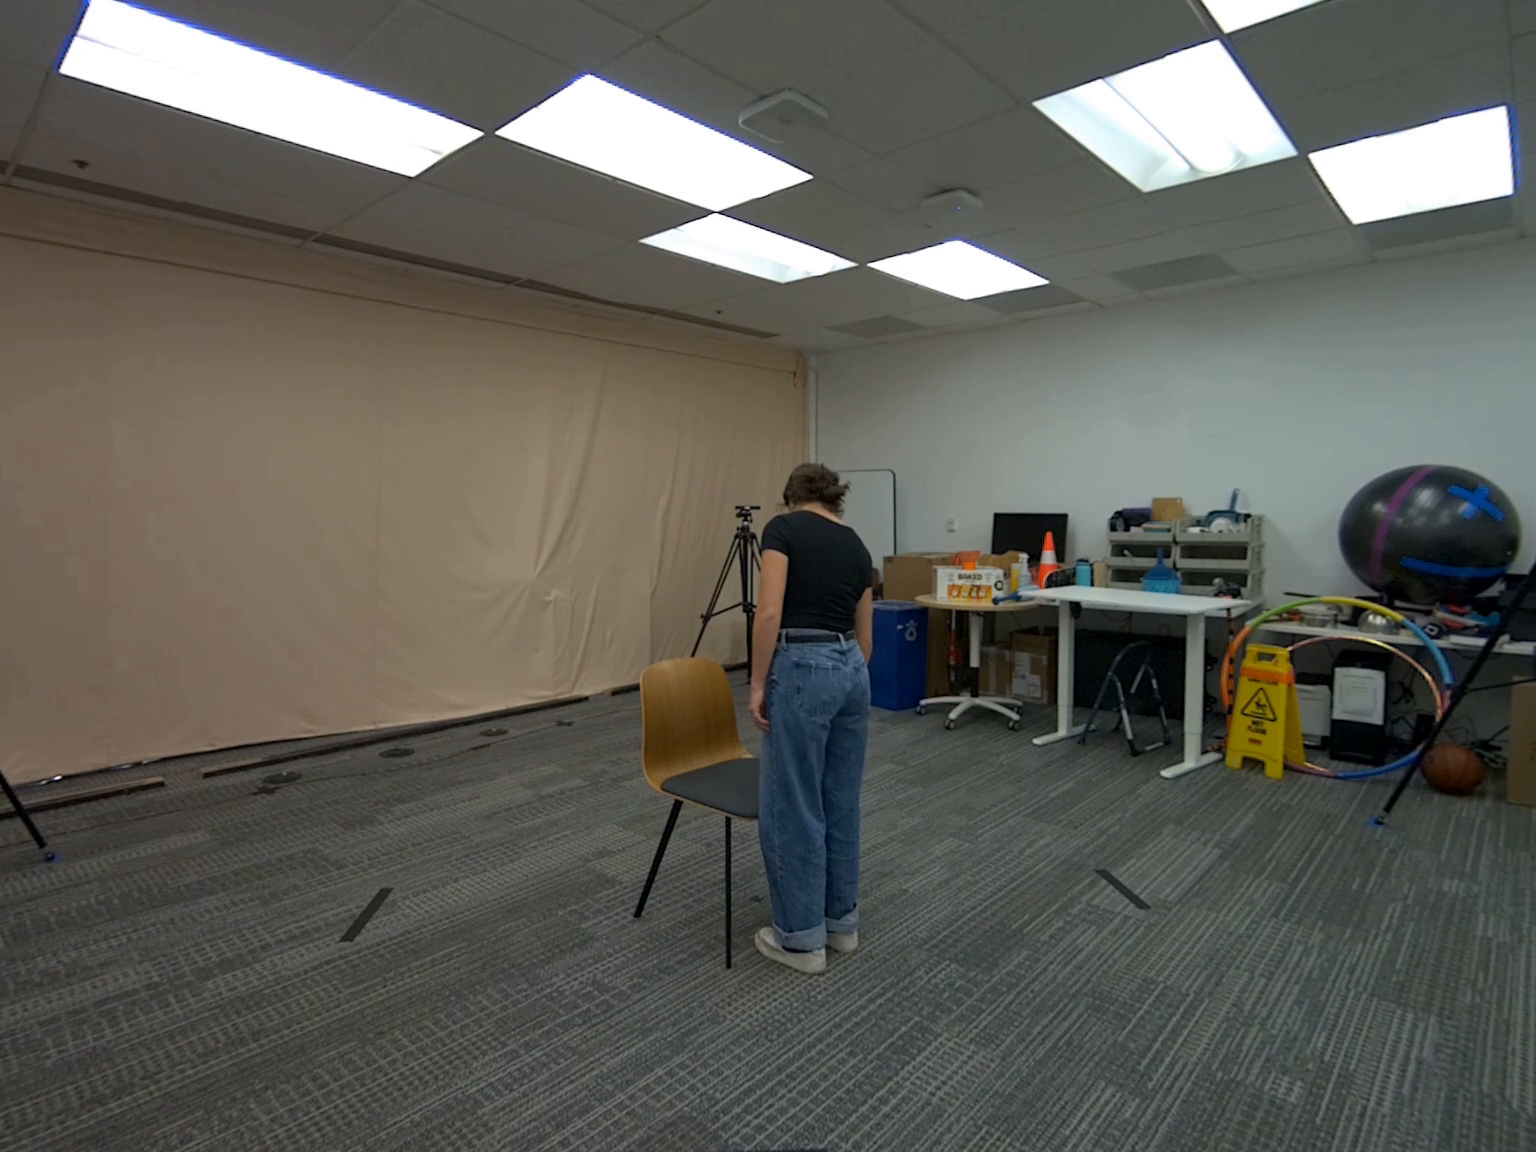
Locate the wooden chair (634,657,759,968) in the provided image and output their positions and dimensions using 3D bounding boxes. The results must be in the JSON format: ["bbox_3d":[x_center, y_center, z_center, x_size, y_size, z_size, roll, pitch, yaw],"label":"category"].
[{"bbox_3d":[-0.131,0.735,2.817,0.540,0.877,0.463,-2,1,44],"label":"wooden chair"}]
